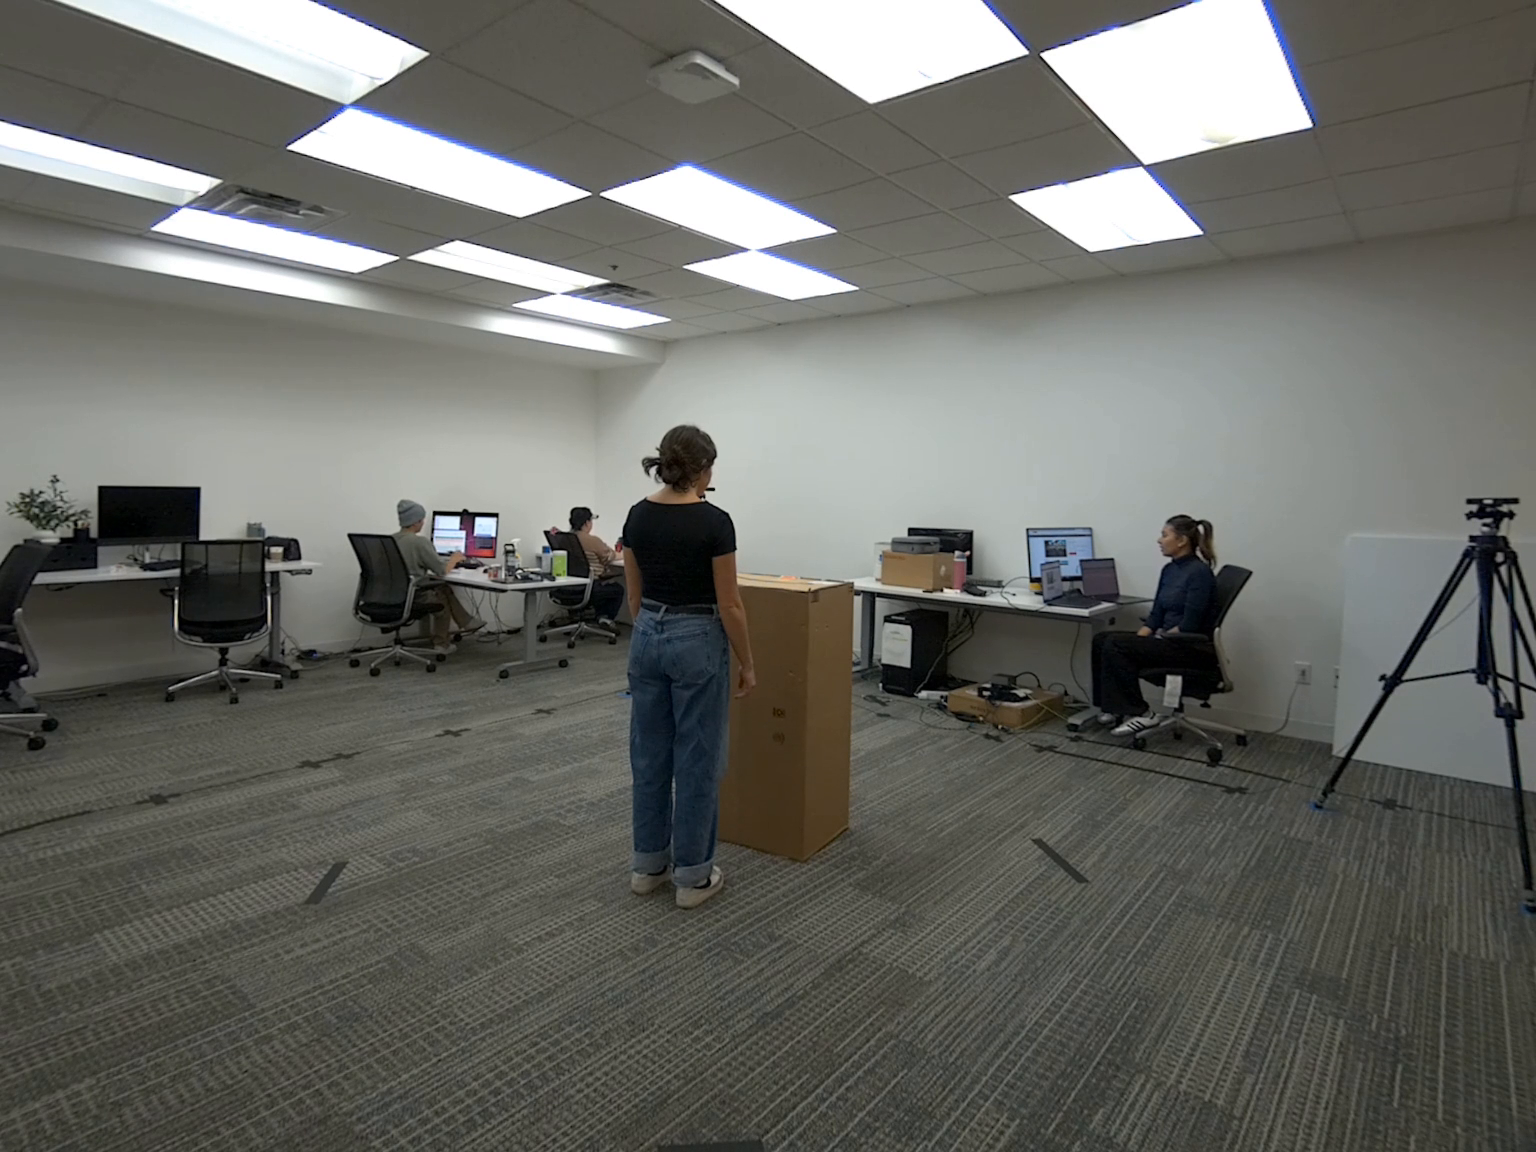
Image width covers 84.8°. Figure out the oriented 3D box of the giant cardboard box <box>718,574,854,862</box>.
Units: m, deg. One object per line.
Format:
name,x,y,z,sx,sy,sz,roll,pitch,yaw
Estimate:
giant cardboard box,-0.007,0.525,3.477,0.595,1.023,0.415,3,3,31
